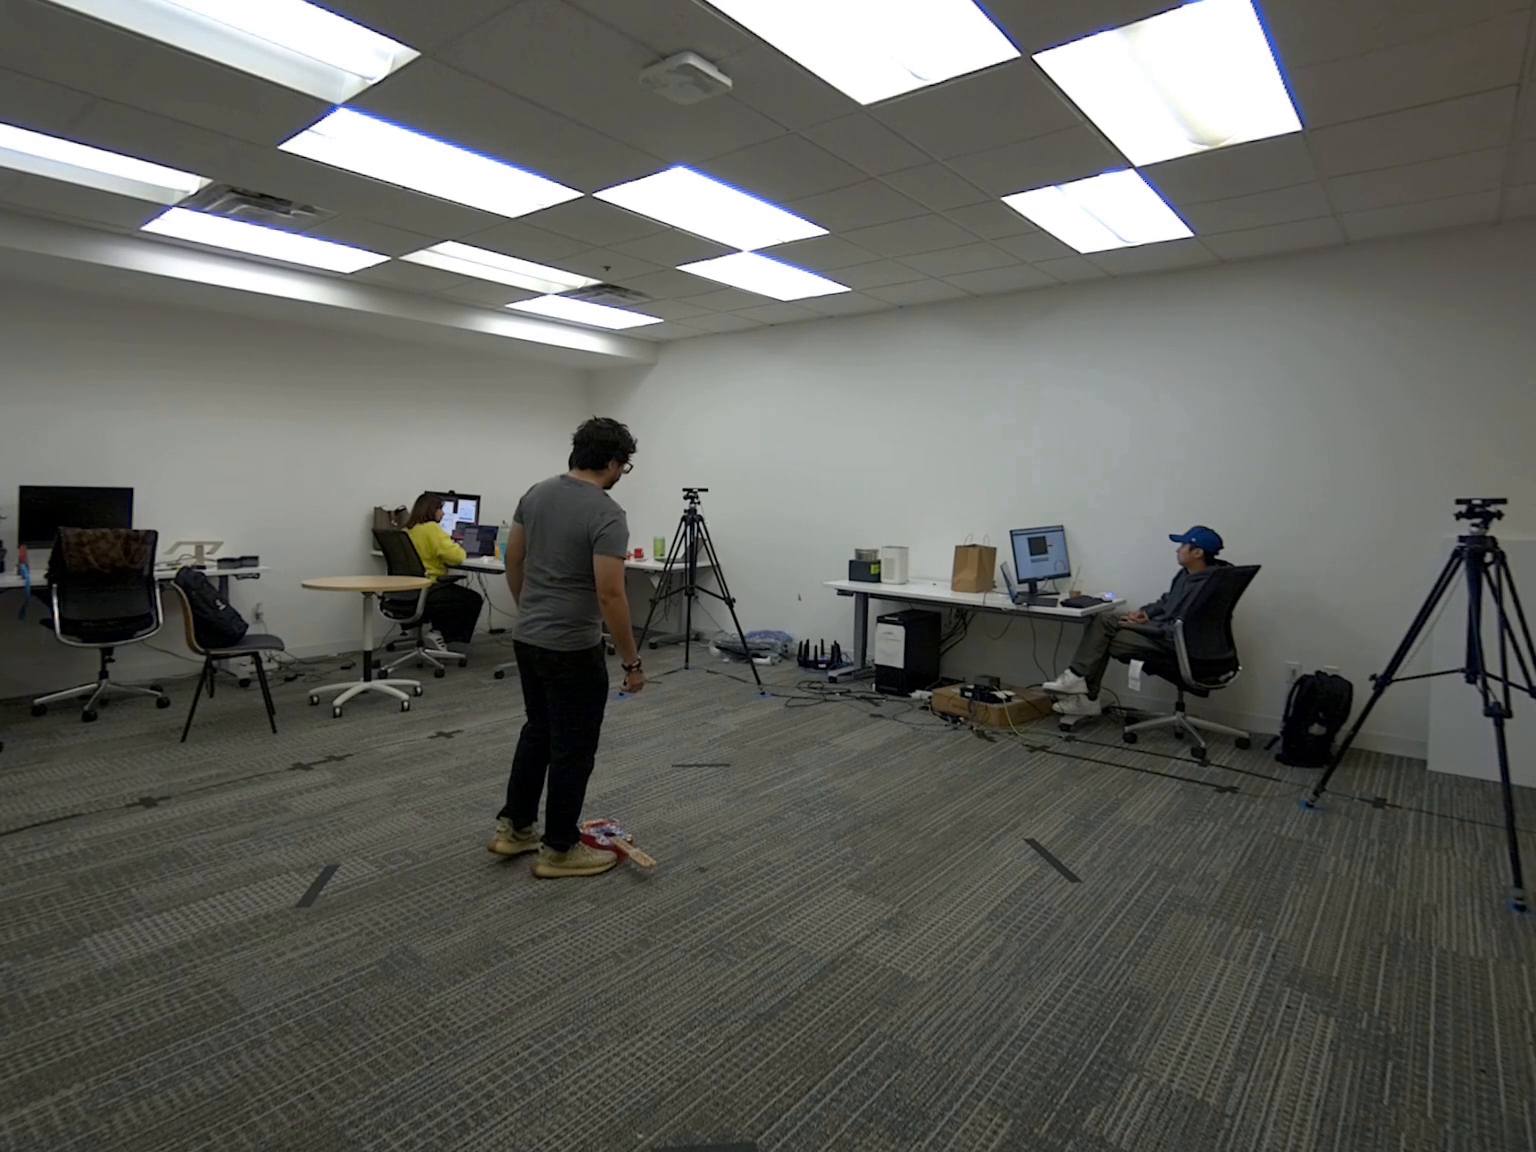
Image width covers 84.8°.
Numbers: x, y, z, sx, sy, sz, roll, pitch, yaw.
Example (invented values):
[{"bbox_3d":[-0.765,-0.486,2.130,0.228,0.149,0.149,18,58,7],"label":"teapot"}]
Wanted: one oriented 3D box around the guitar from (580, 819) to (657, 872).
[{"bbox_3d":[-0.595,1.022,3.184,0.188,0.070,0.512,-1,5,-28],"label":"guitar"}]
